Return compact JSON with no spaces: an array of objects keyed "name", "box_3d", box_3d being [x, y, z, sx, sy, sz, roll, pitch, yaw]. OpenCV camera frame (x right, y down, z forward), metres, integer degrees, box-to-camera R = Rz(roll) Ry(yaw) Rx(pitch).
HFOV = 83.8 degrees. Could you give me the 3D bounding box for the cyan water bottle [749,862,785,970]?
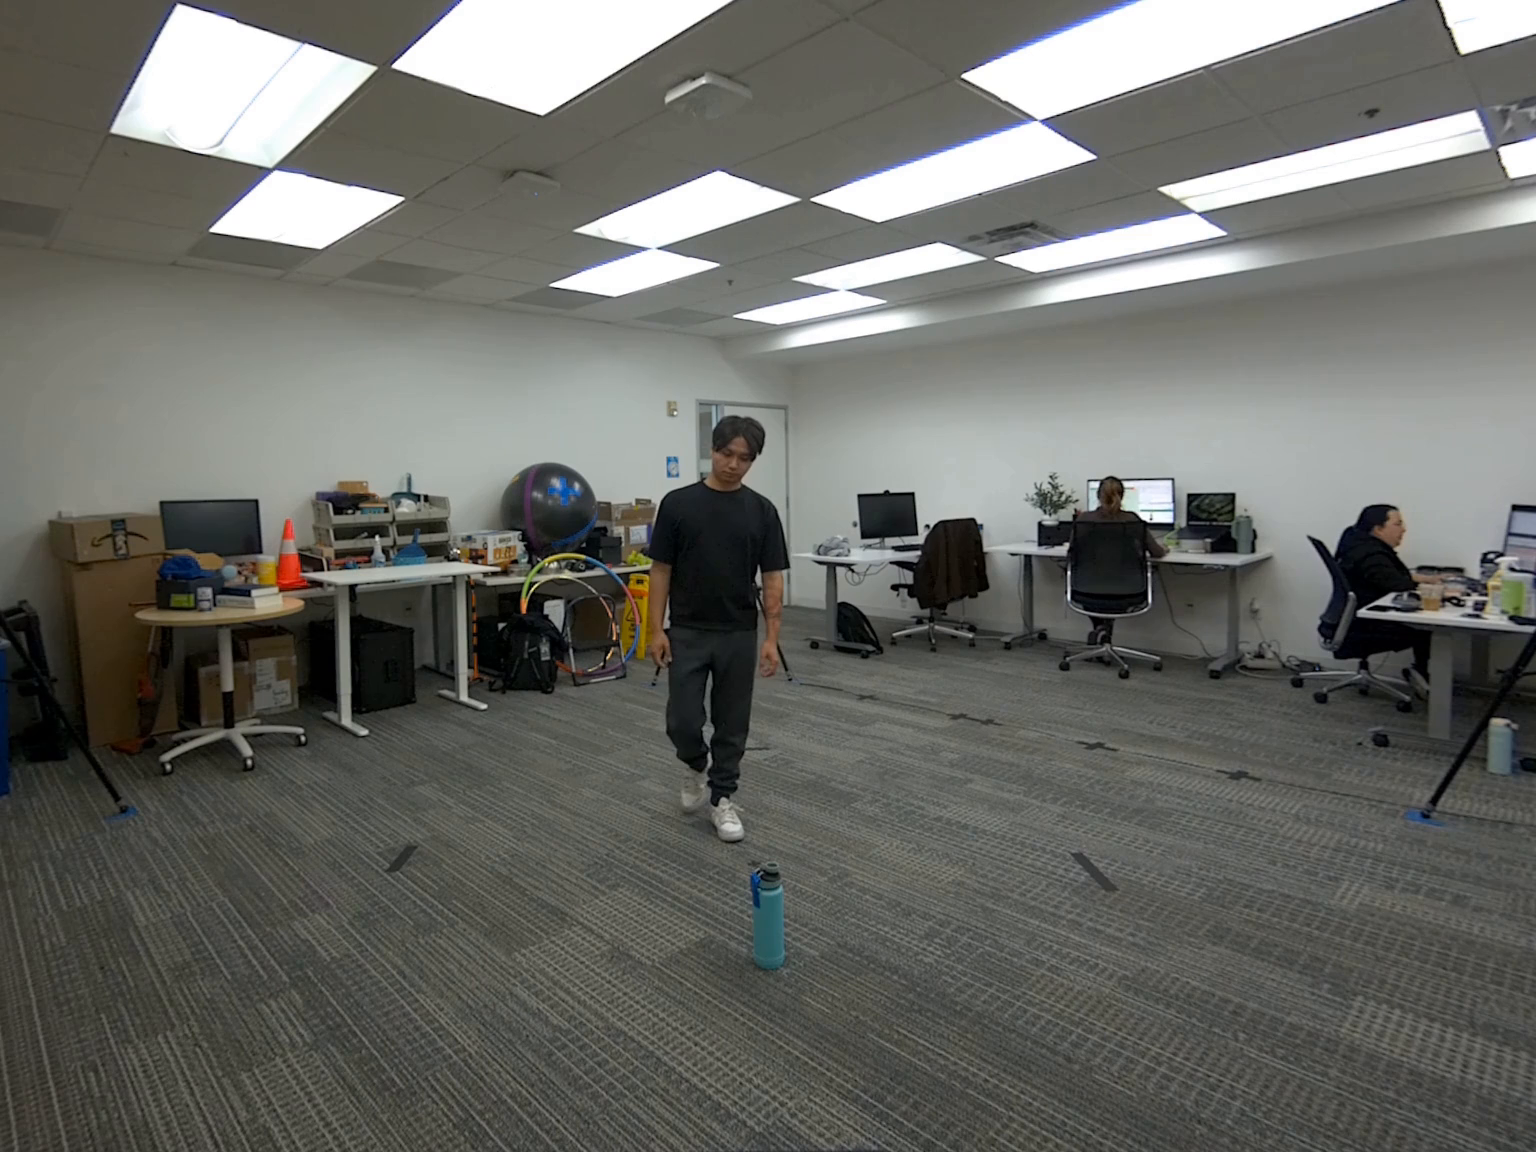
[{"name":"cyan water bottle","box_3d":[0.004,0.980,2.469,0.092,0.282,0.093,-3,3,-1]}]
